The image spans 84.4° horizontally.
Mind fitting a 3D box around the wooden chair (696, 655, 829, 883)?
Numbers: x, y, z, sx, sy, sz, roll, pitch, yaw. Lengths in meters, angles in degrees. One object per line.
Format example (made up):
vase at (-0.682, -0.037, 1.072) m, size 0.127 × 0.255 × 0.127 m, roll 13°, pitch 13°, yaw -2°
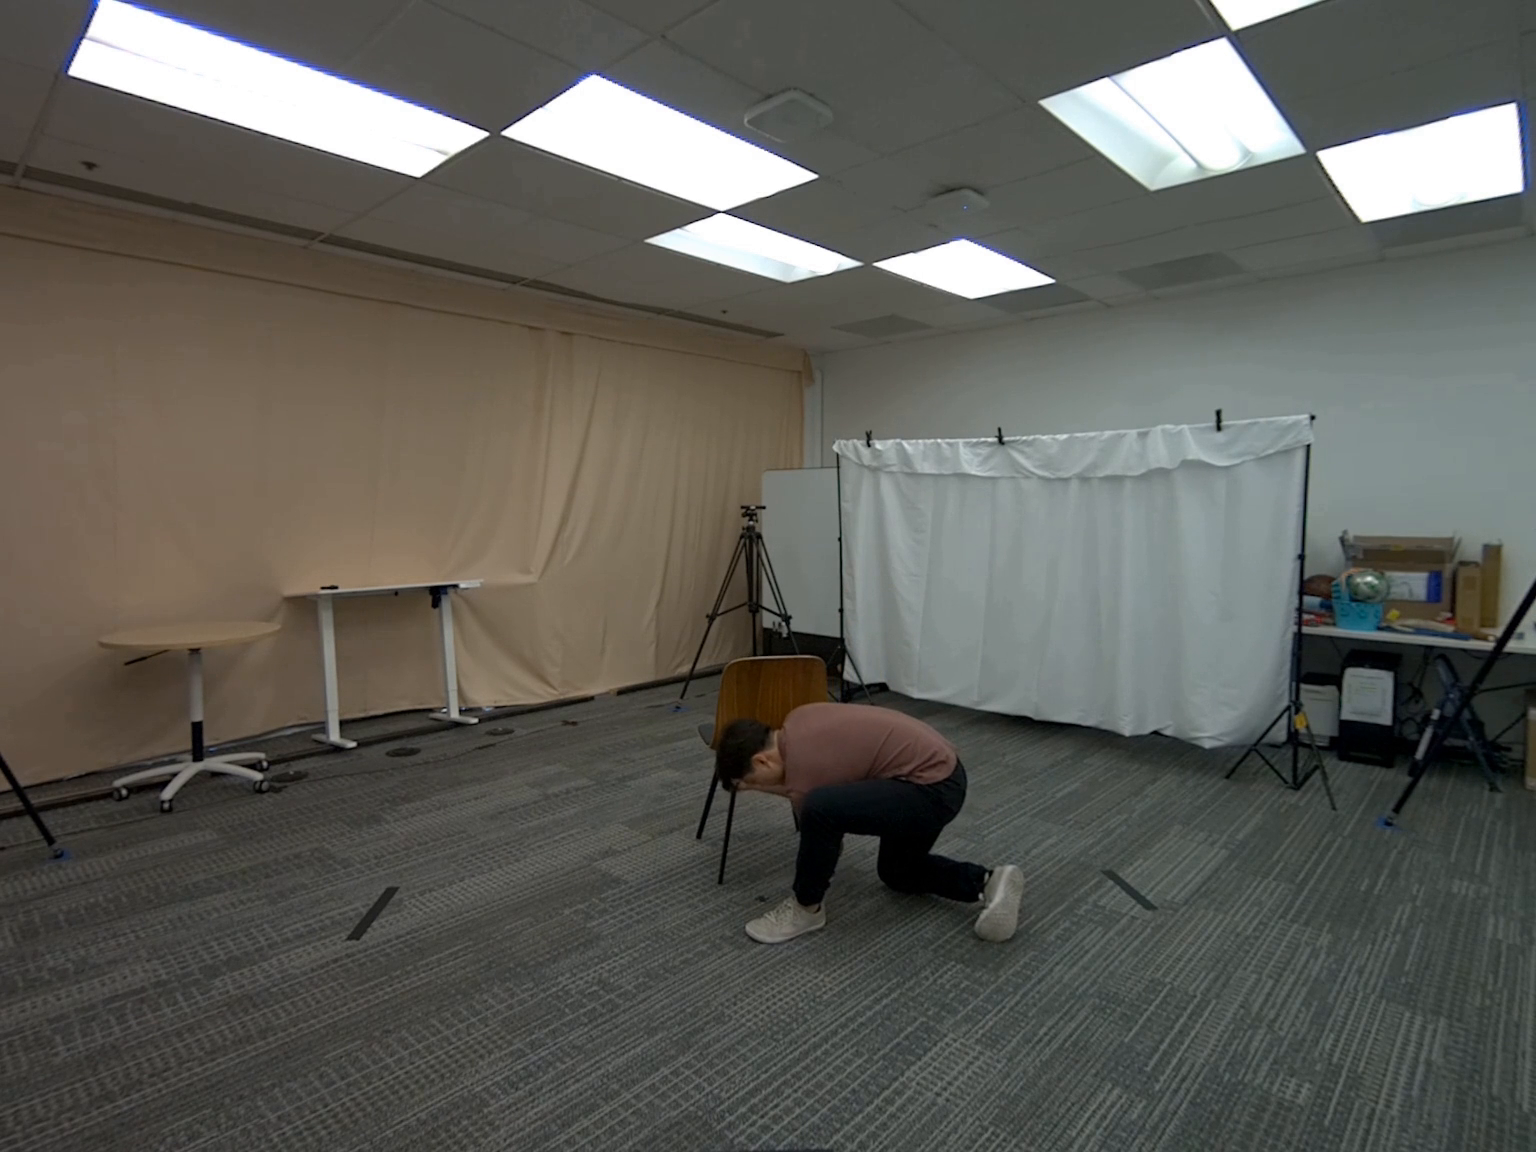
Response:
wooden chair at (-0.034, 0.685, 3.339) m, size 0.472 × 0.873 × 0.532 m, roll -2°, pitch 7°, yaw -13°
